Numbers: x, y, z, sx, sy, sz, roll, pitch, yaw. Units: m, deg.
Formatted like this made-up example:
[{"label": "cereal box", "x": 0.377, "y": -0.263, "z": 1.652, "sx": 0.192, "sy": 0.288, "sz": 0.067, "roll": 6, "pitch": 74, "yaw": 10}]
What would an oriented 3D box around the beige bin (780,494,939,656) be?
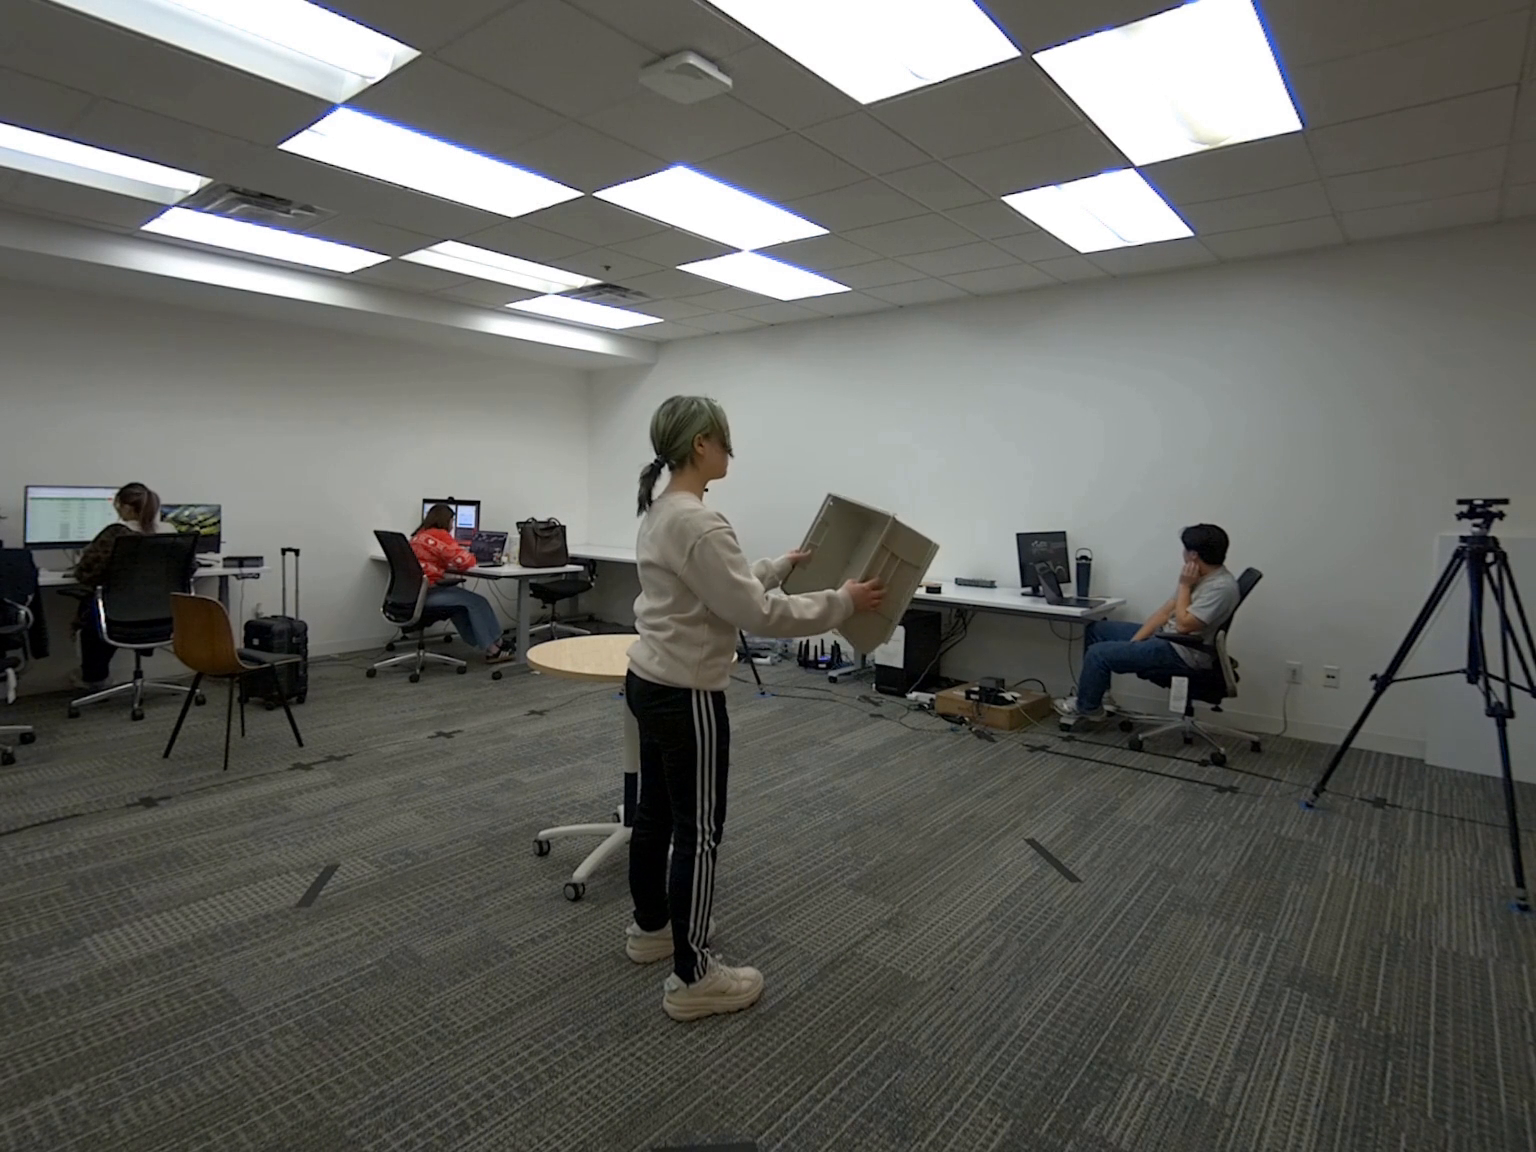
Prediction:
[{"label": "beige bin", "x": 0.240, "y": -0.011, "z": 2.516, "sx": 0.183, "sy": 0.377, "sz": 0.435, "roll": 27, "pitch": 2, "yaw": -24}]
